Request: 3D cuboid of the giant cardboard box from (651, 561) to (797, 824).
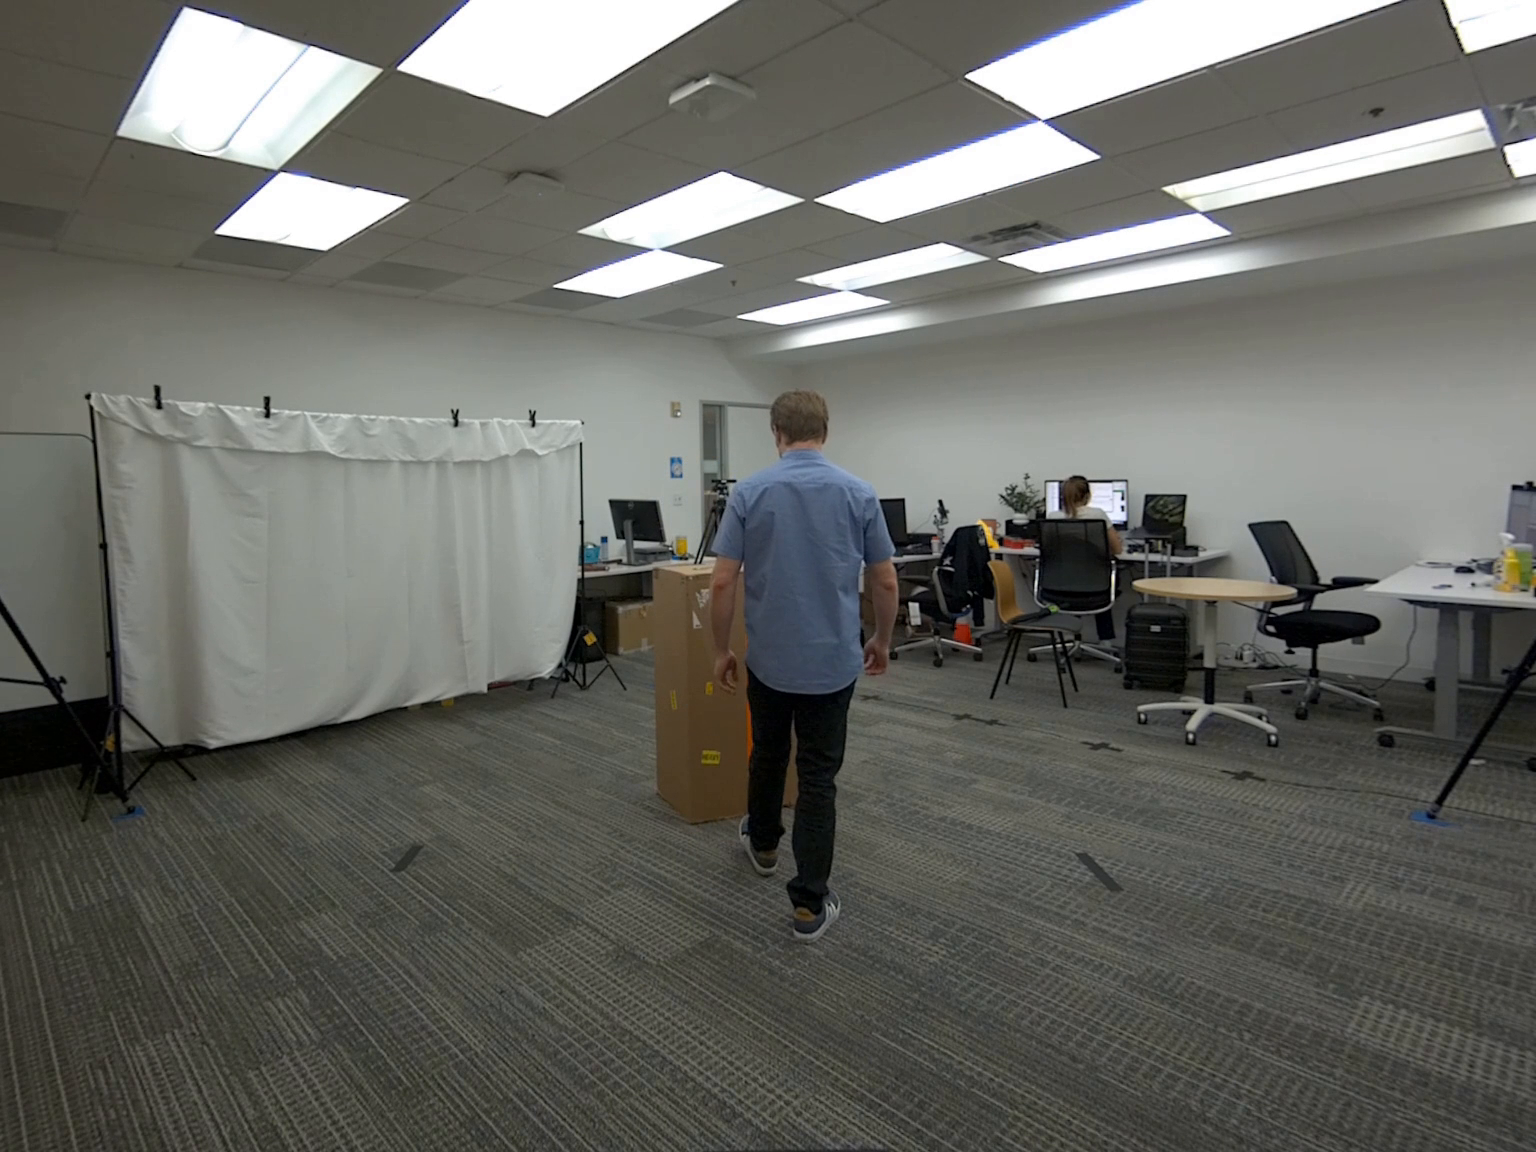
[{"bbox_3d":[-0.162,0.469,3.747,0.565,1.023,0.436,-3,3,-25],"label":"giant cardboard box"}]
